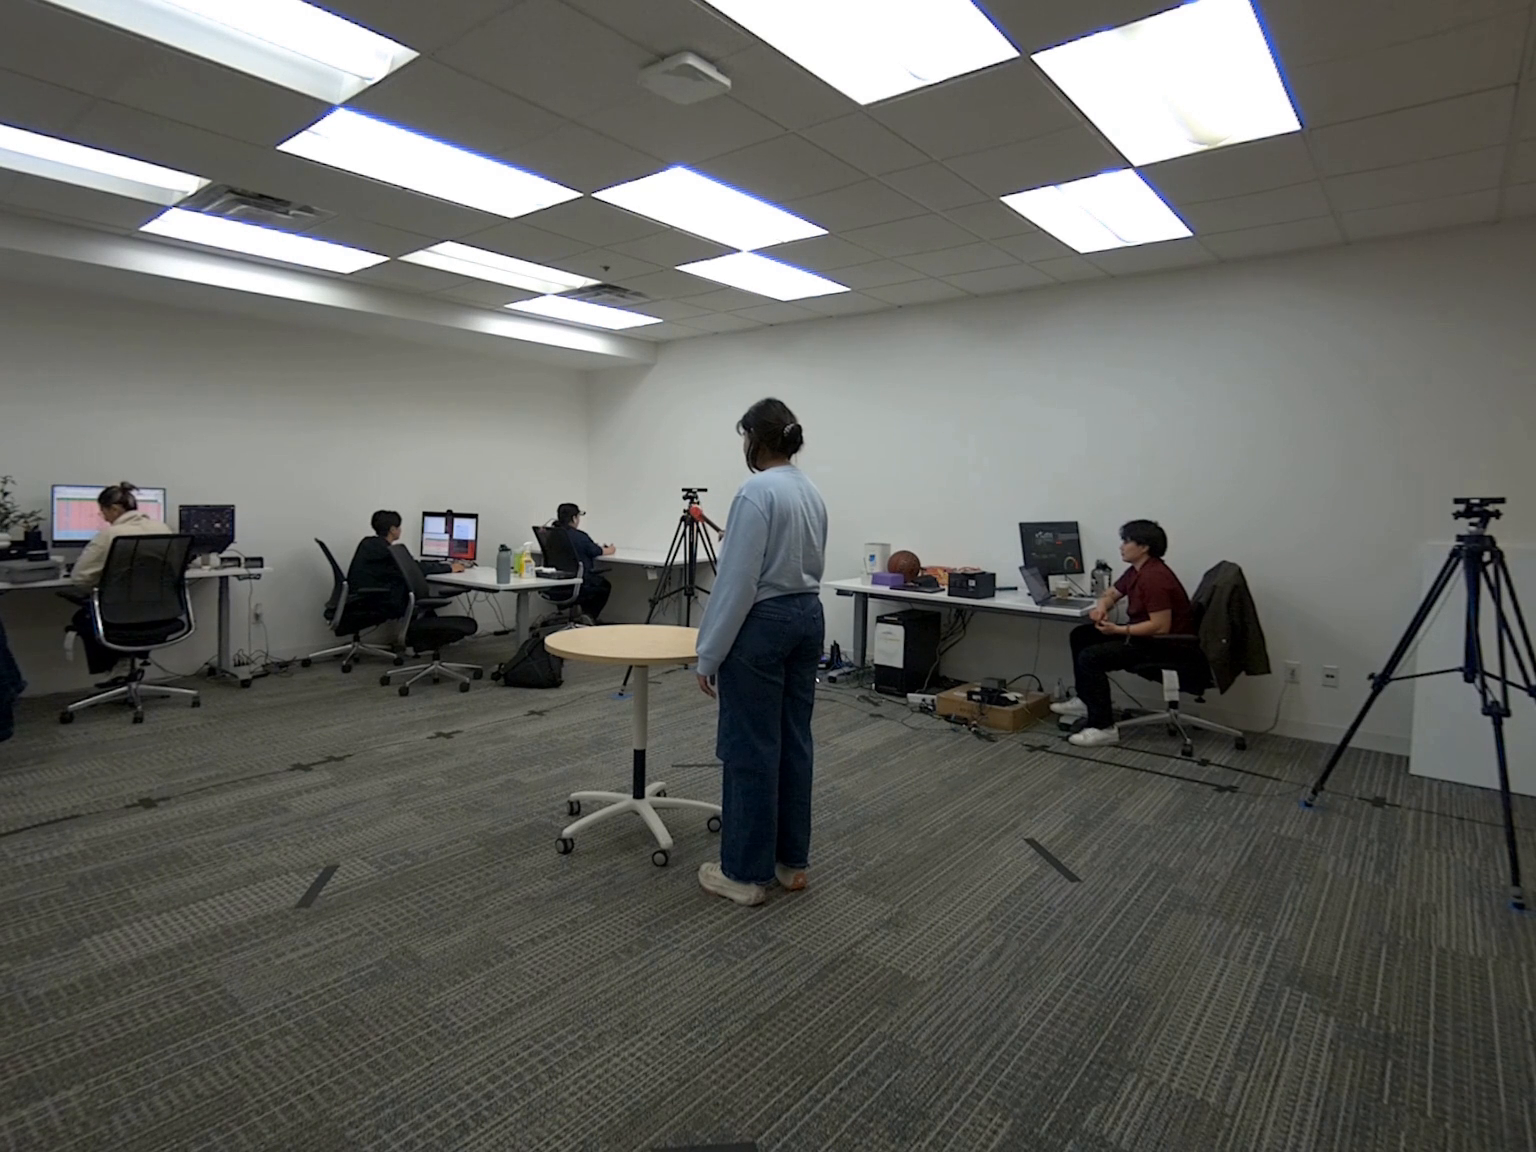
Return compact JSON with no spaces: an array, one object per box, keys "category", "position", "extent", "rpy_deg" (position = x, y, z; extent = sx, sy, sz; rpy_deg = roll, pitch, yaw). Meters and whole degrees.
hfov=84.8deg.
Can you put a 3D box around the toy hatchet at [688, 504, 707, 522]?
[{"category":"toy hatchet","position":[-0.215,-0.180,3.238],"extent":[0.265,0.029,0.134],"rpy_deg":[45,-15,-15]}]
